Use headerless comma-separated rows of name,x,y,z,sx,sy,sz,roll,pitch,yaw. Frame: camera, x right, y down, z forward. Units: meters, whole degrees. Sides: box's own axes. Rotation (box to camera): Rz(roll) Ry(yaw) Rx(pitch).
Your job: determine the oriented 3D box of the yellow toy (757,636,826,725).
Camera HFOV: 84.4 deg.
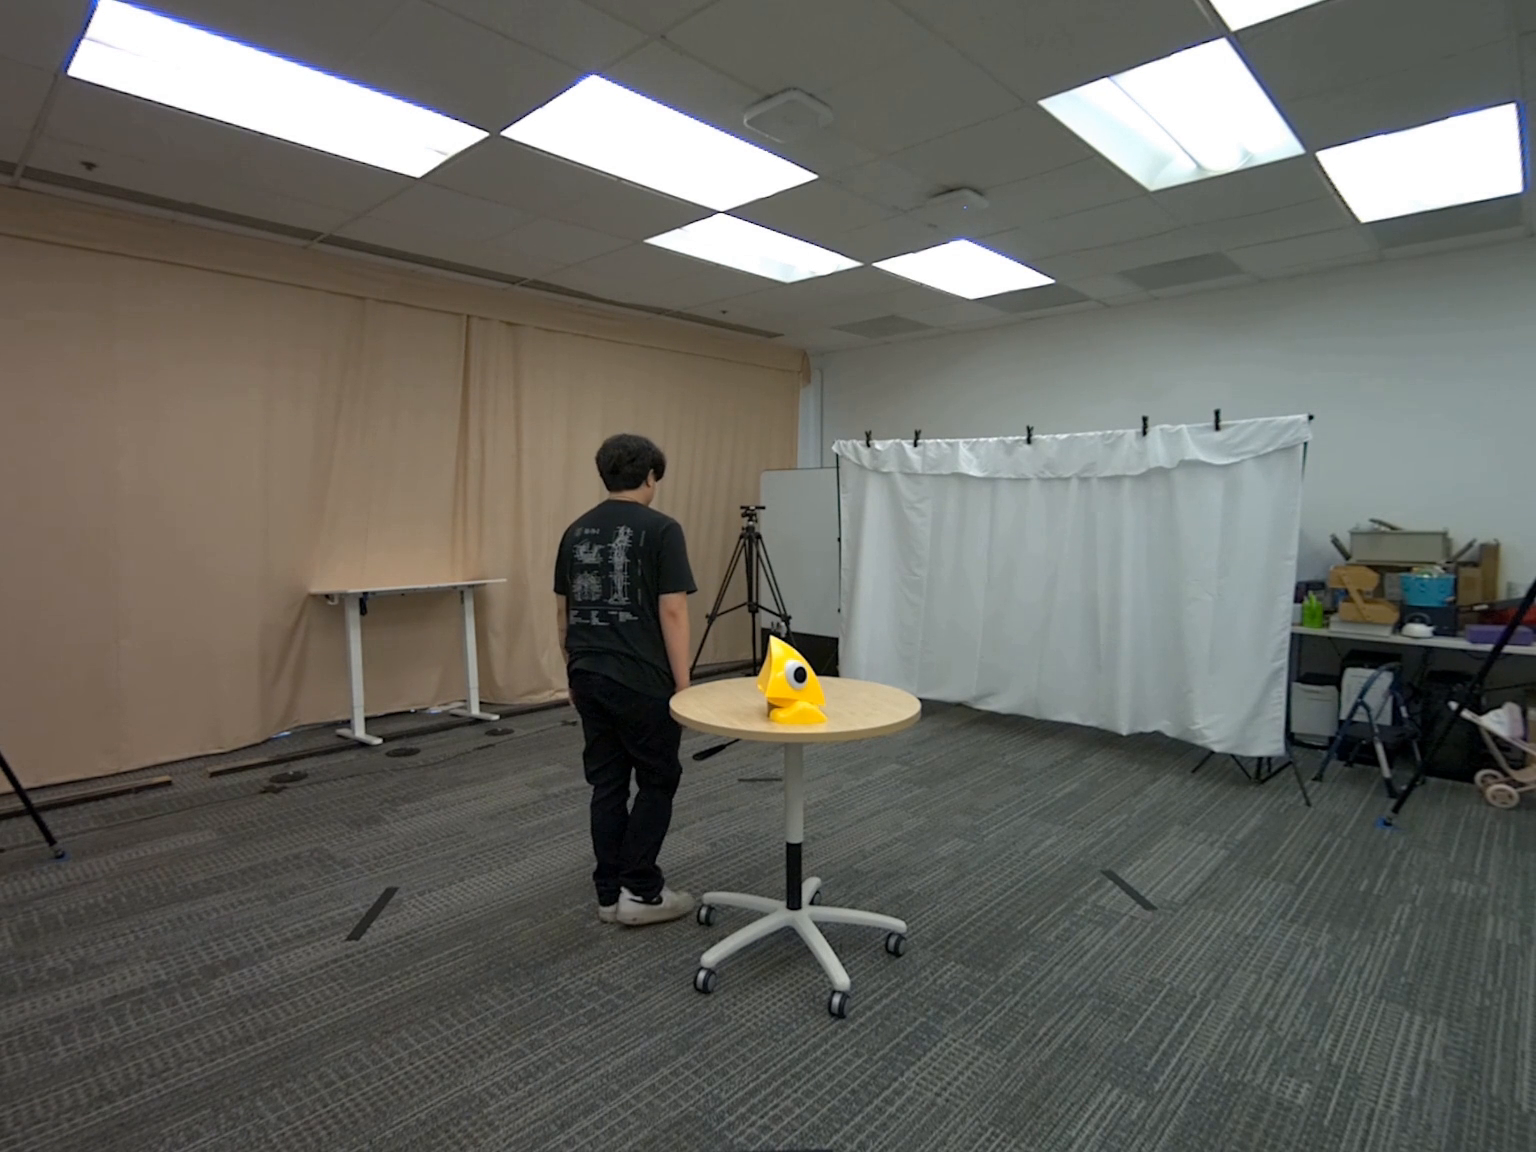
yellow toy,0.074,0.284,2.396,0.192,0.230,0.206,-1,3,-6
